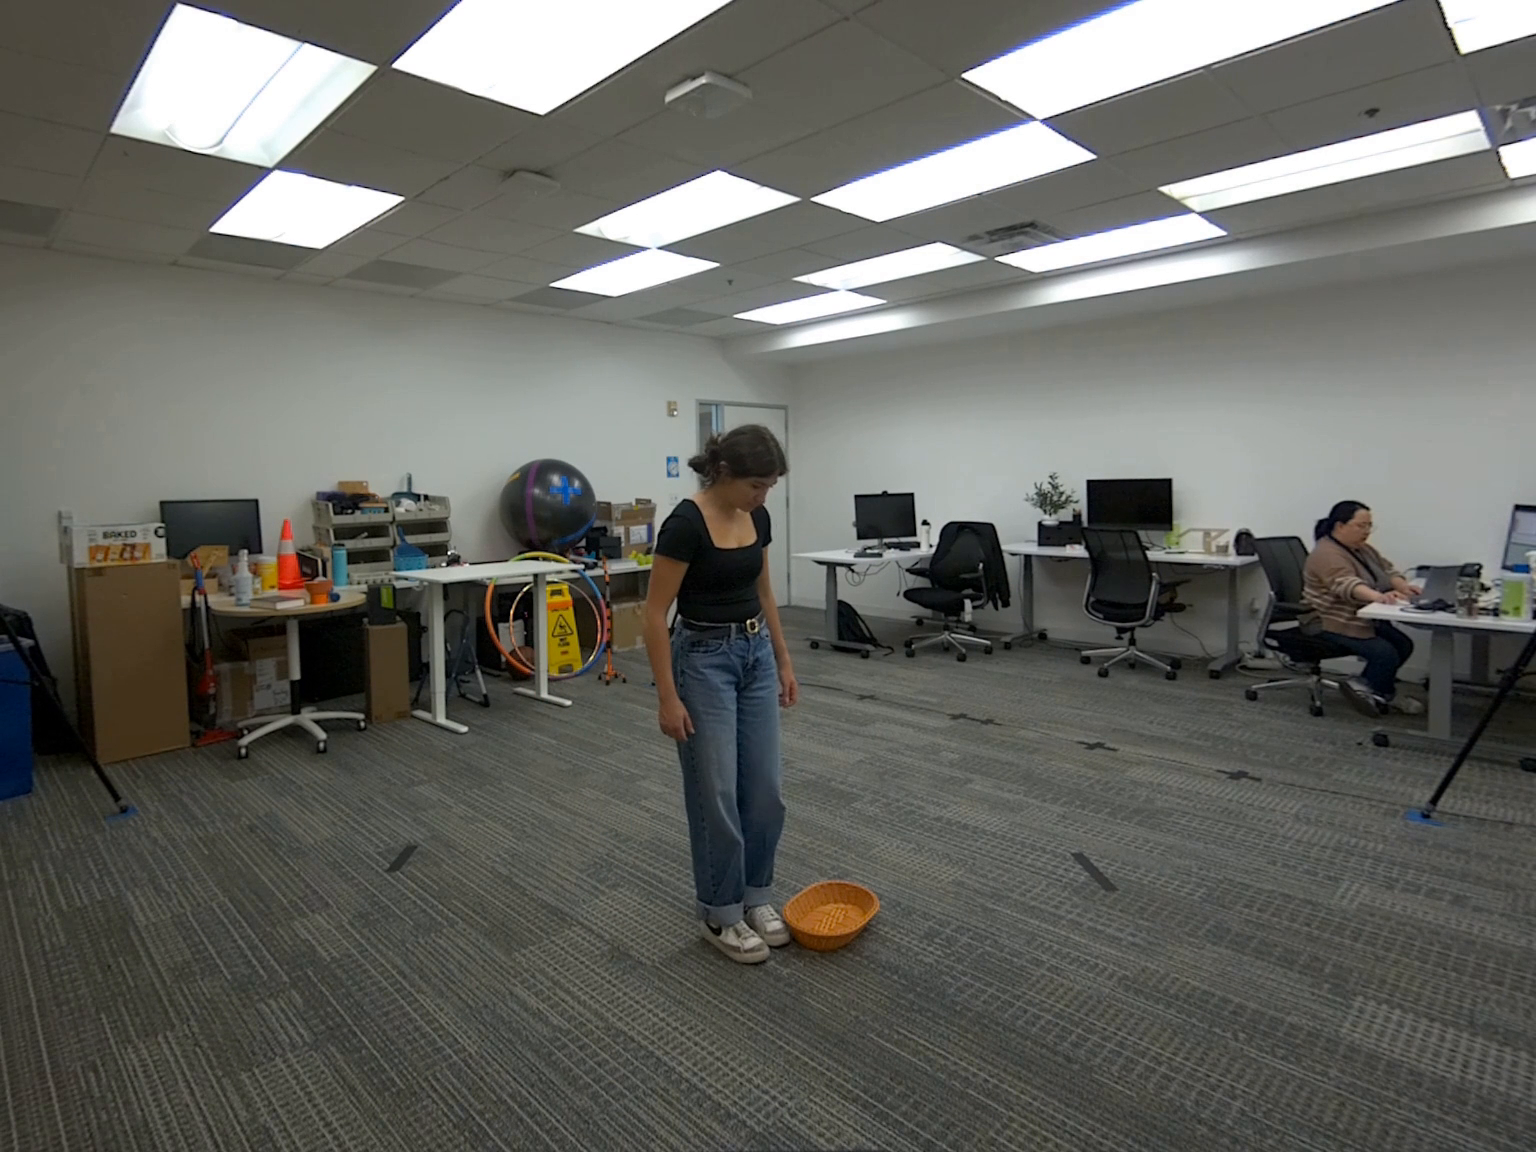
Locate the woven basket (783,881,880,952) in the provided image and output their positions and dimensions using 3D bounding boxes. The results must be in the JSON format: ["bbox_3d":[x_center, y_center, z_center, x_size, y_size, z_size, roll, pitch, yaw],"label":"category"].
[{"bbox_3d":[0.203,1.048,2.652,0.260,0.073,0.341,5,8,37],"label":"woven basket"}]
